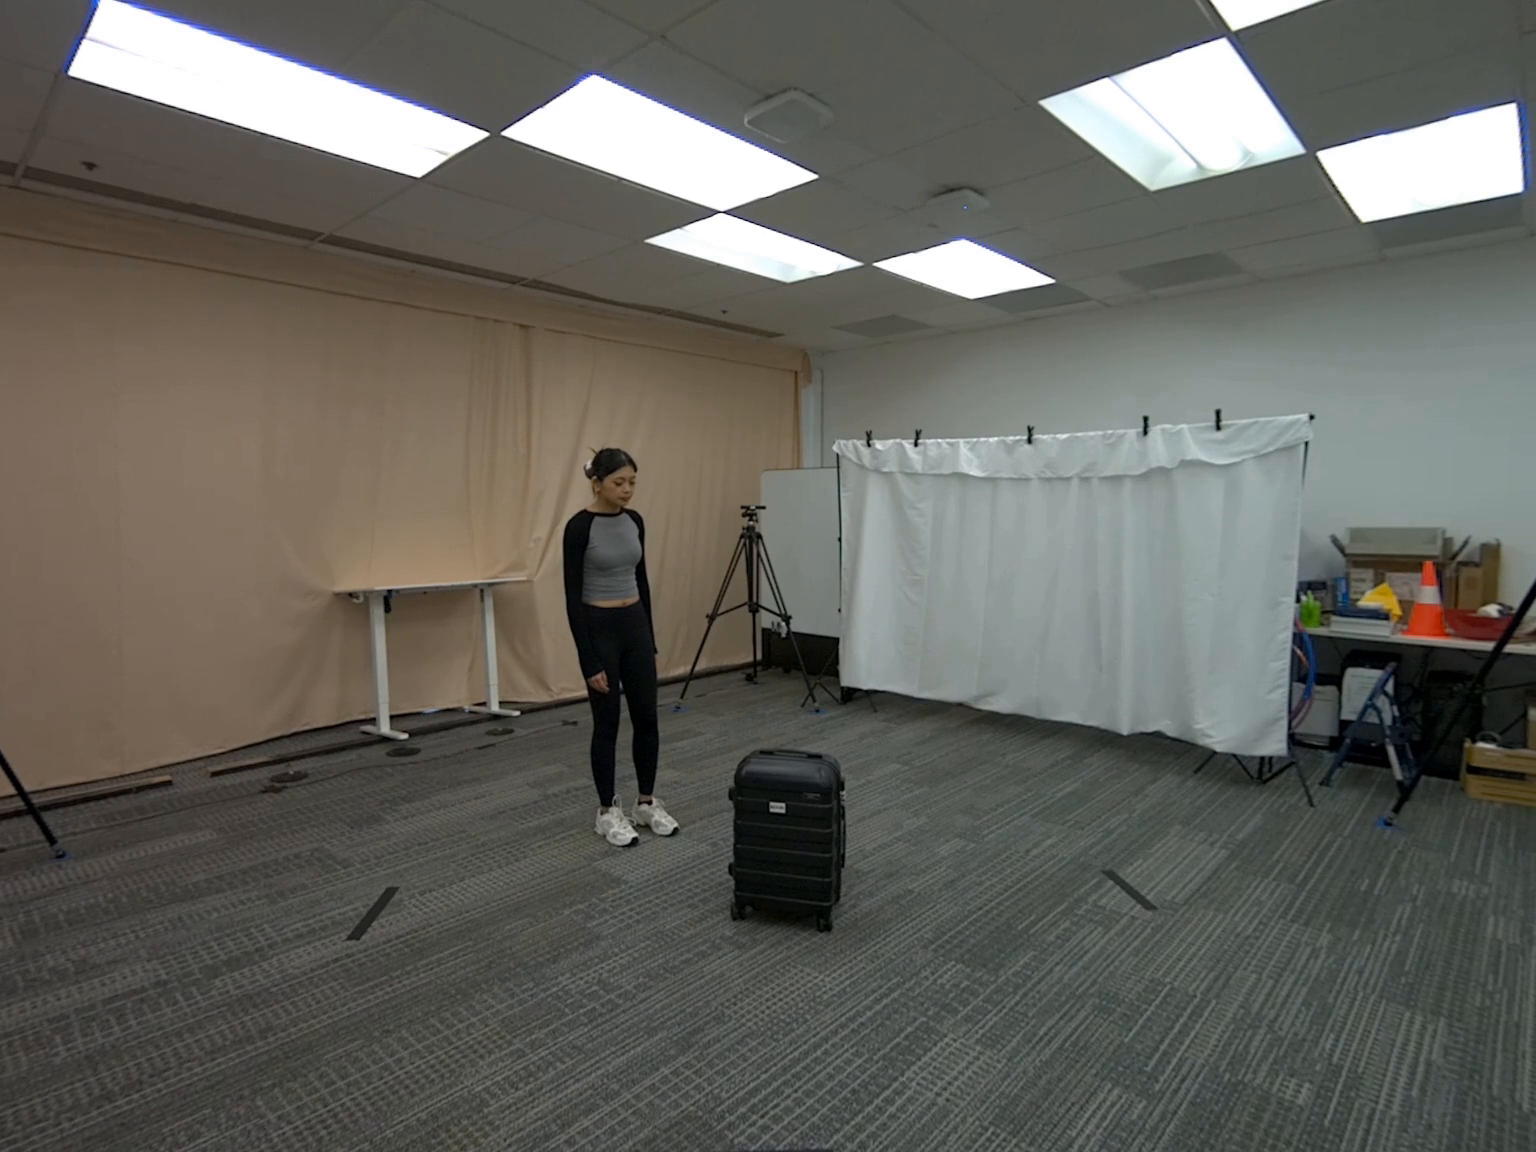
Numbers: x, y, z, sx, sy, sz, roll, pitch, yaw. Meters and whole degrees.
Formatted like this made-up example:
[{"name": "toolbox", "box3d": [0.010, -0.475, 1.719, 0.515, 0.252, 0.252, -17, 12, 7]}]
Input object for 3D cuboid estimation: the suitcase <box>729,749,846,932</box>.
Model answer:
[{"name": "suitcase", "box3d": [0.075, 0.878, 2.865, 0.382, 0.547, 0.245, 2, 5, 16]}]
